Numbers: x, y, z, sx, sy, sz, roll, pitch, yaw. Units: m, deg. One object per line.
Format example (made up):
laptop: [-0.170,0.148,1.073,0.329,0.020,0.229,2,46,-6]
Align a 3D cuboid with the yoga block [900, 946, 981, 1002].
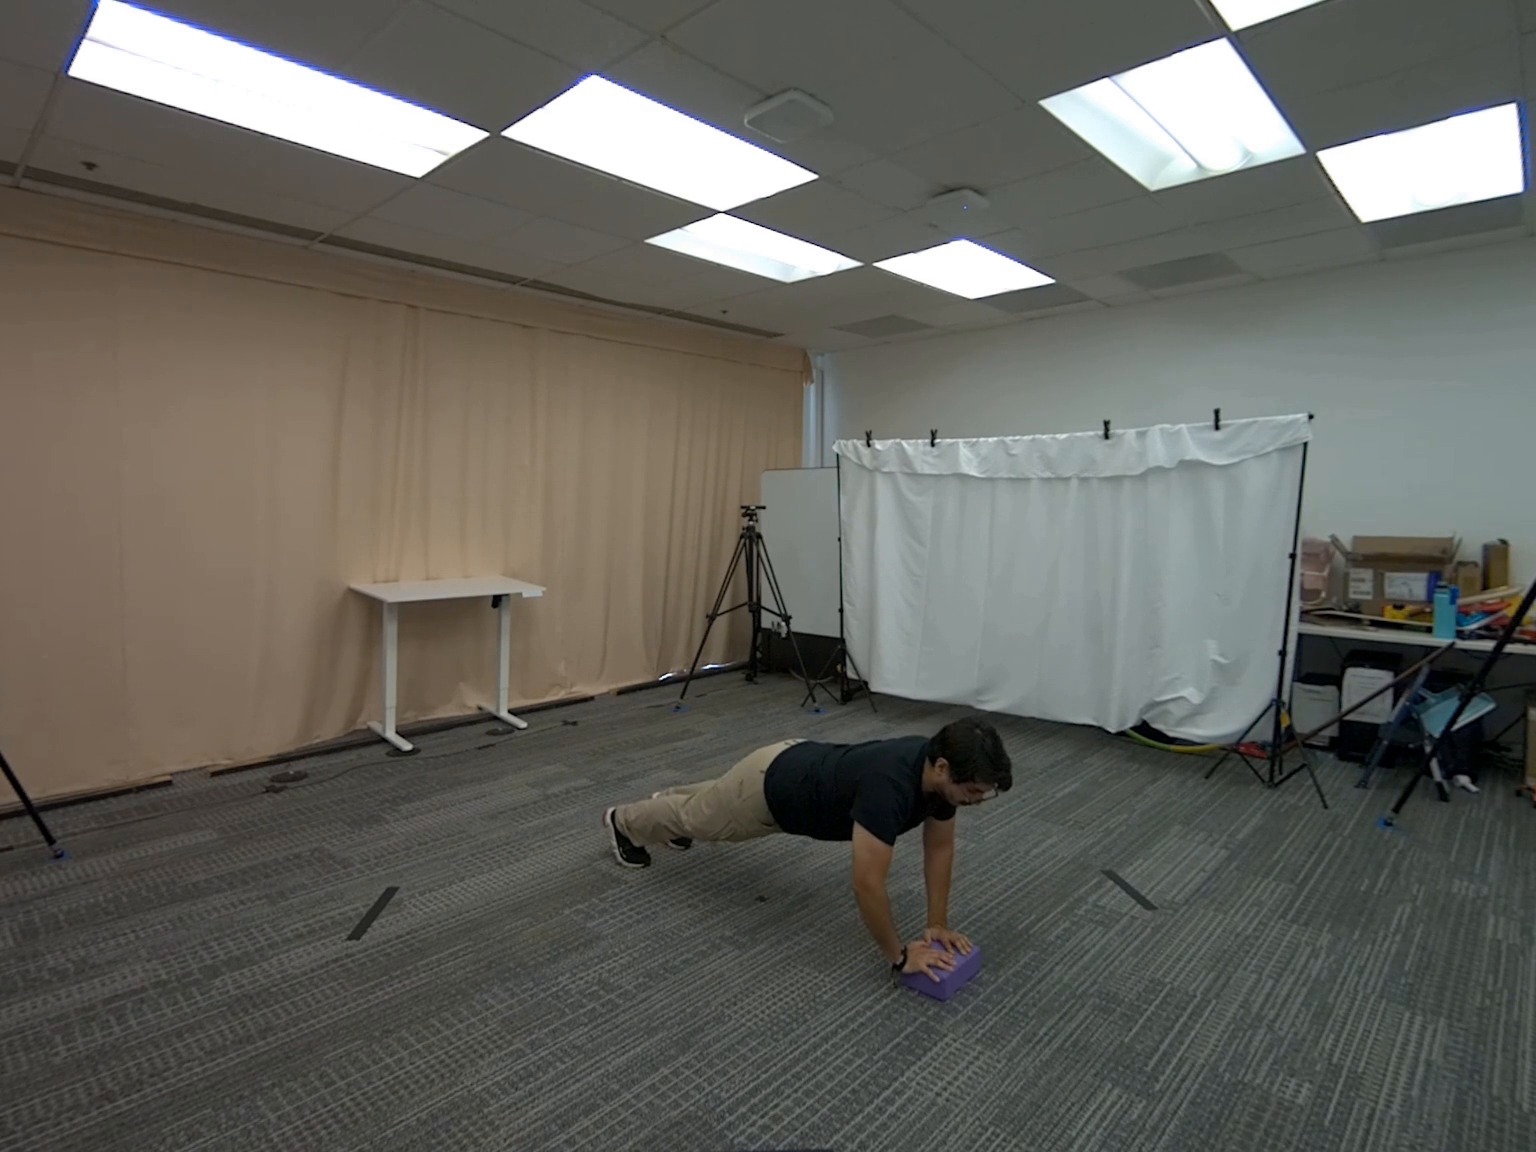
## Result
yoga block: [0.516,1.154,2.478,0.154,0.076,0.222,7,7,41]
